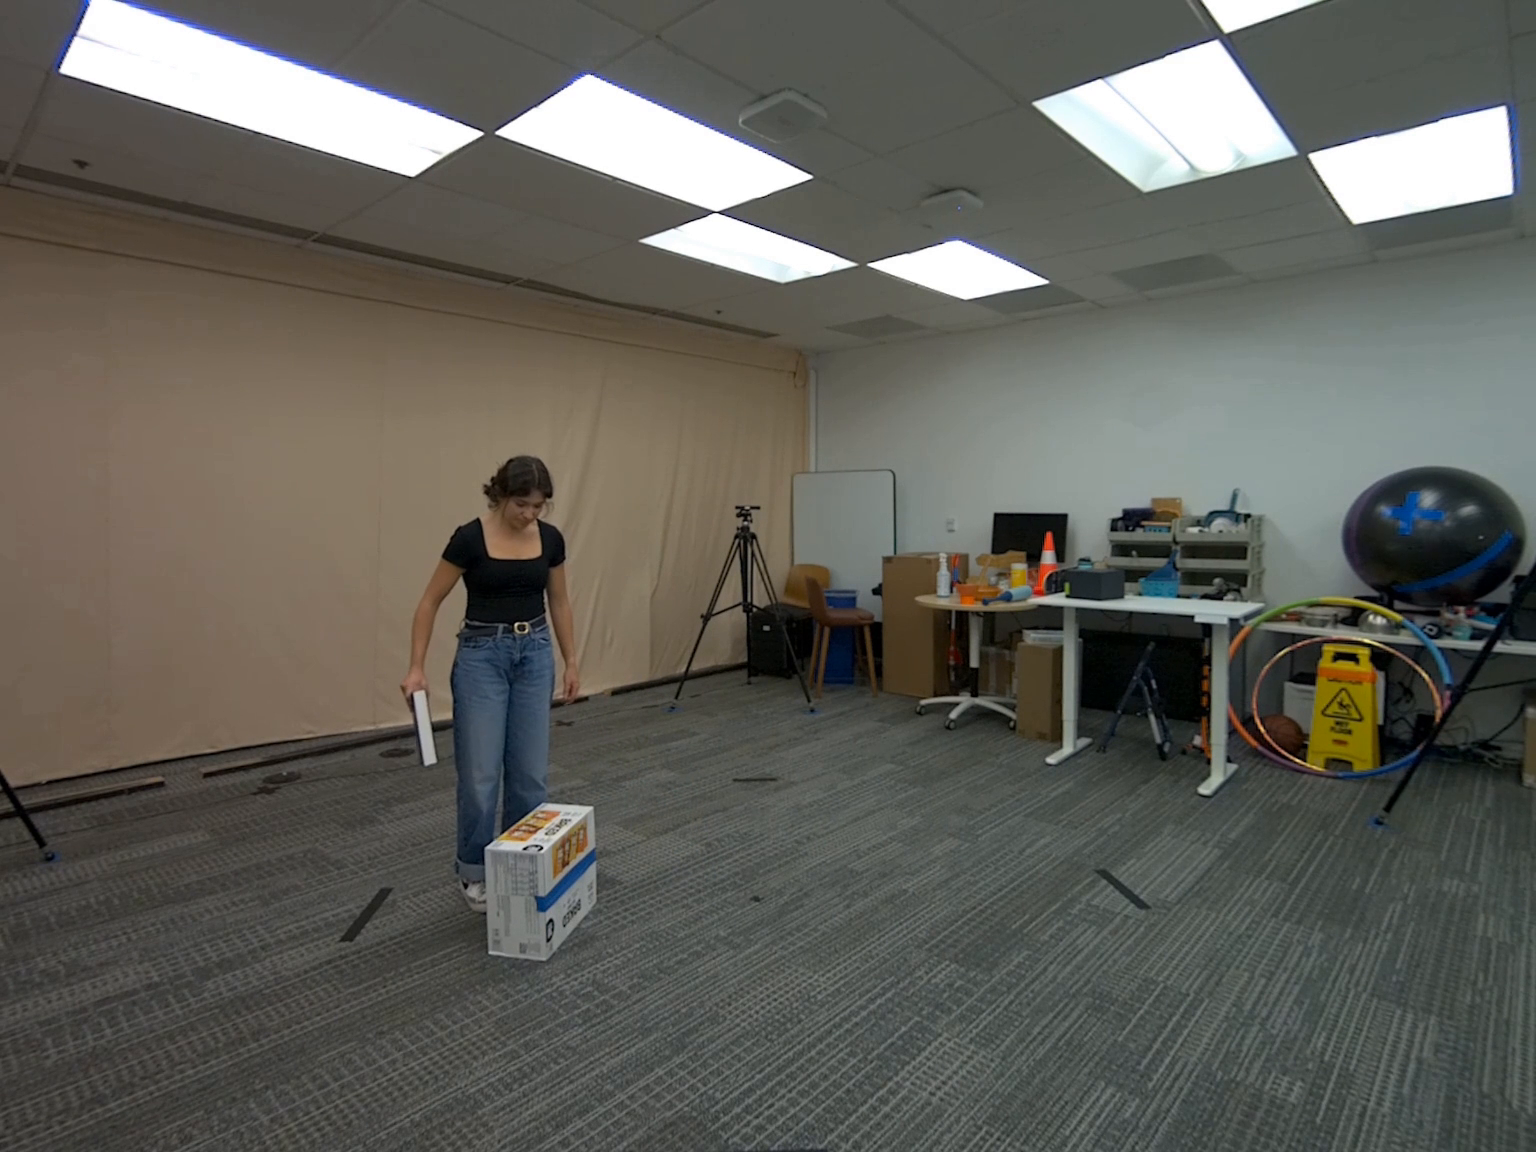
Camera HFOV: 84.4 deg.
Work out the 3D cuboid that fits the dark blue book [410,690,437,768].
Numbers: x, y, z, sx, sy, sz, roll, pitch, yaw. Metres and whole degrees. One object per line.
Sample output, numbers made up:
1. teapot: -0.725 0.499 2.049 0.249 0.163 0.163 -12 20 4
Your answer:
1. dark blue book: -1.130 0.497 2.782 0.044 0.247 0.165 -5 -8 -21
